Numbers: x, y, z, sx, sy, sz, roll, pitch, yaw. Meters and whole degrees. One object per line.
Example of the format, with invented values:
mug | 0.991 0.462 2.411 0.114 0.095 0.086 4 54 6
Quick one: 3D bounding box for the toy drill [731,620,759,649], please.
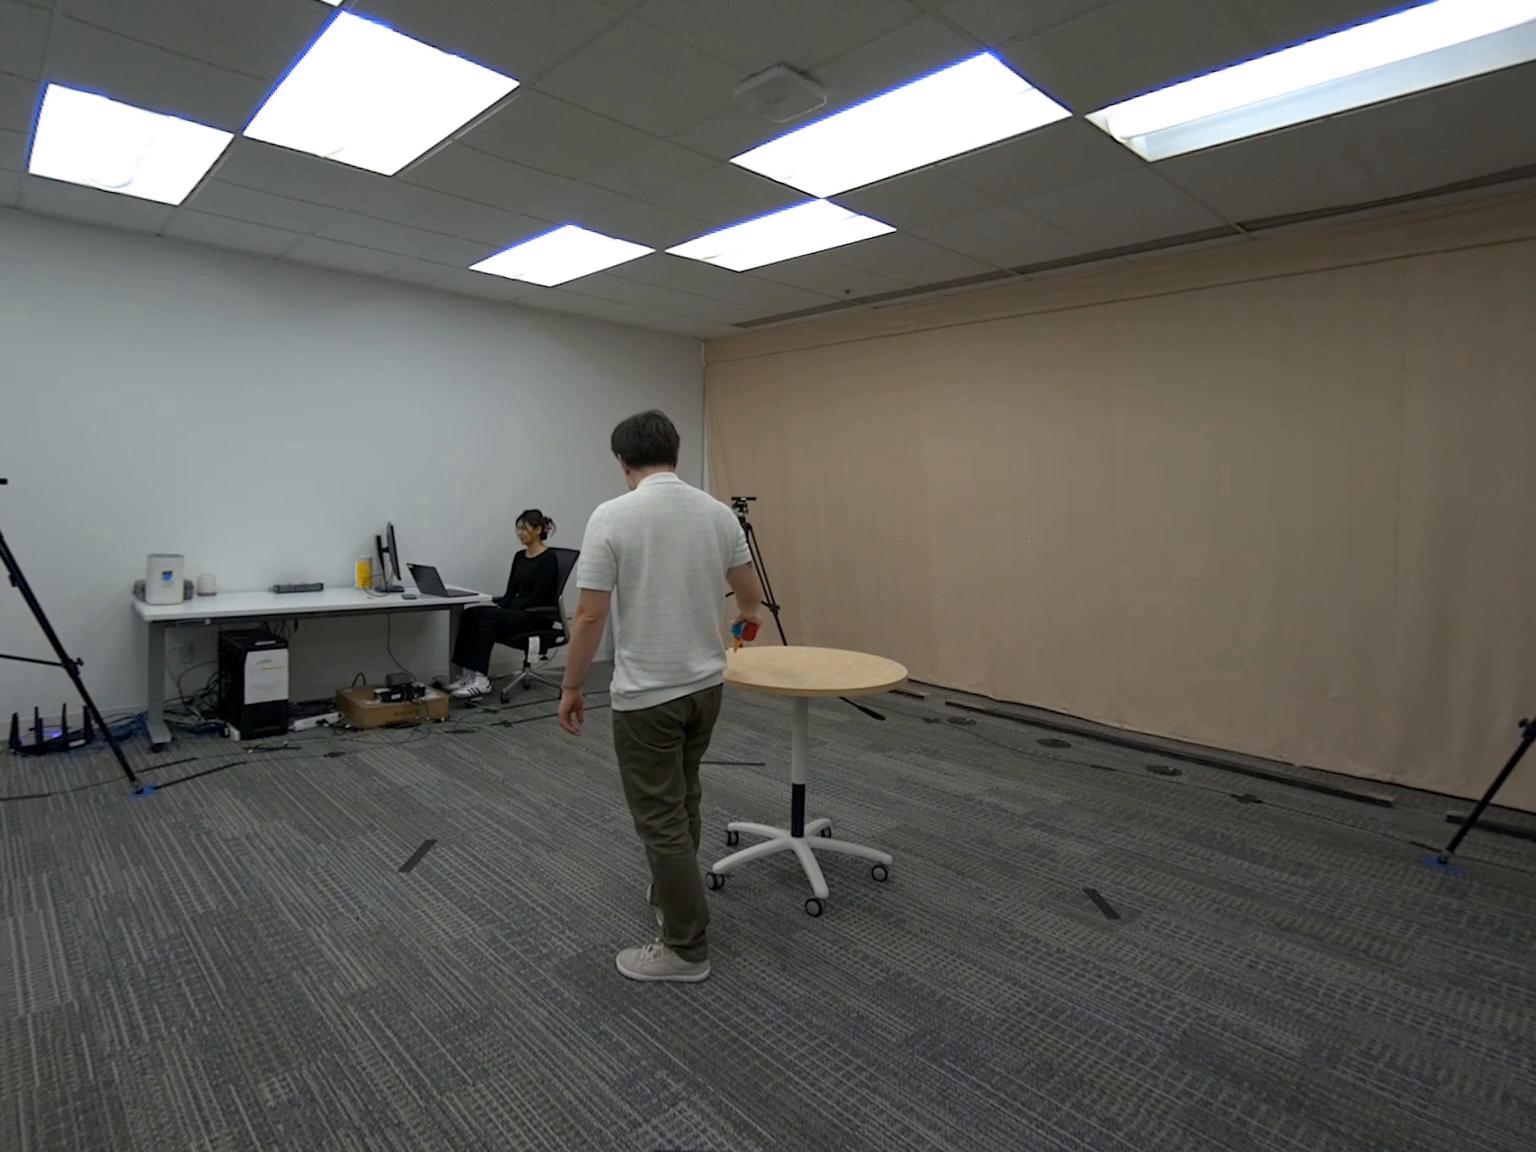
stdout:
toy drill | -0.089 0.206 2.945 0.060 0.169 0.148 14 12 -10
